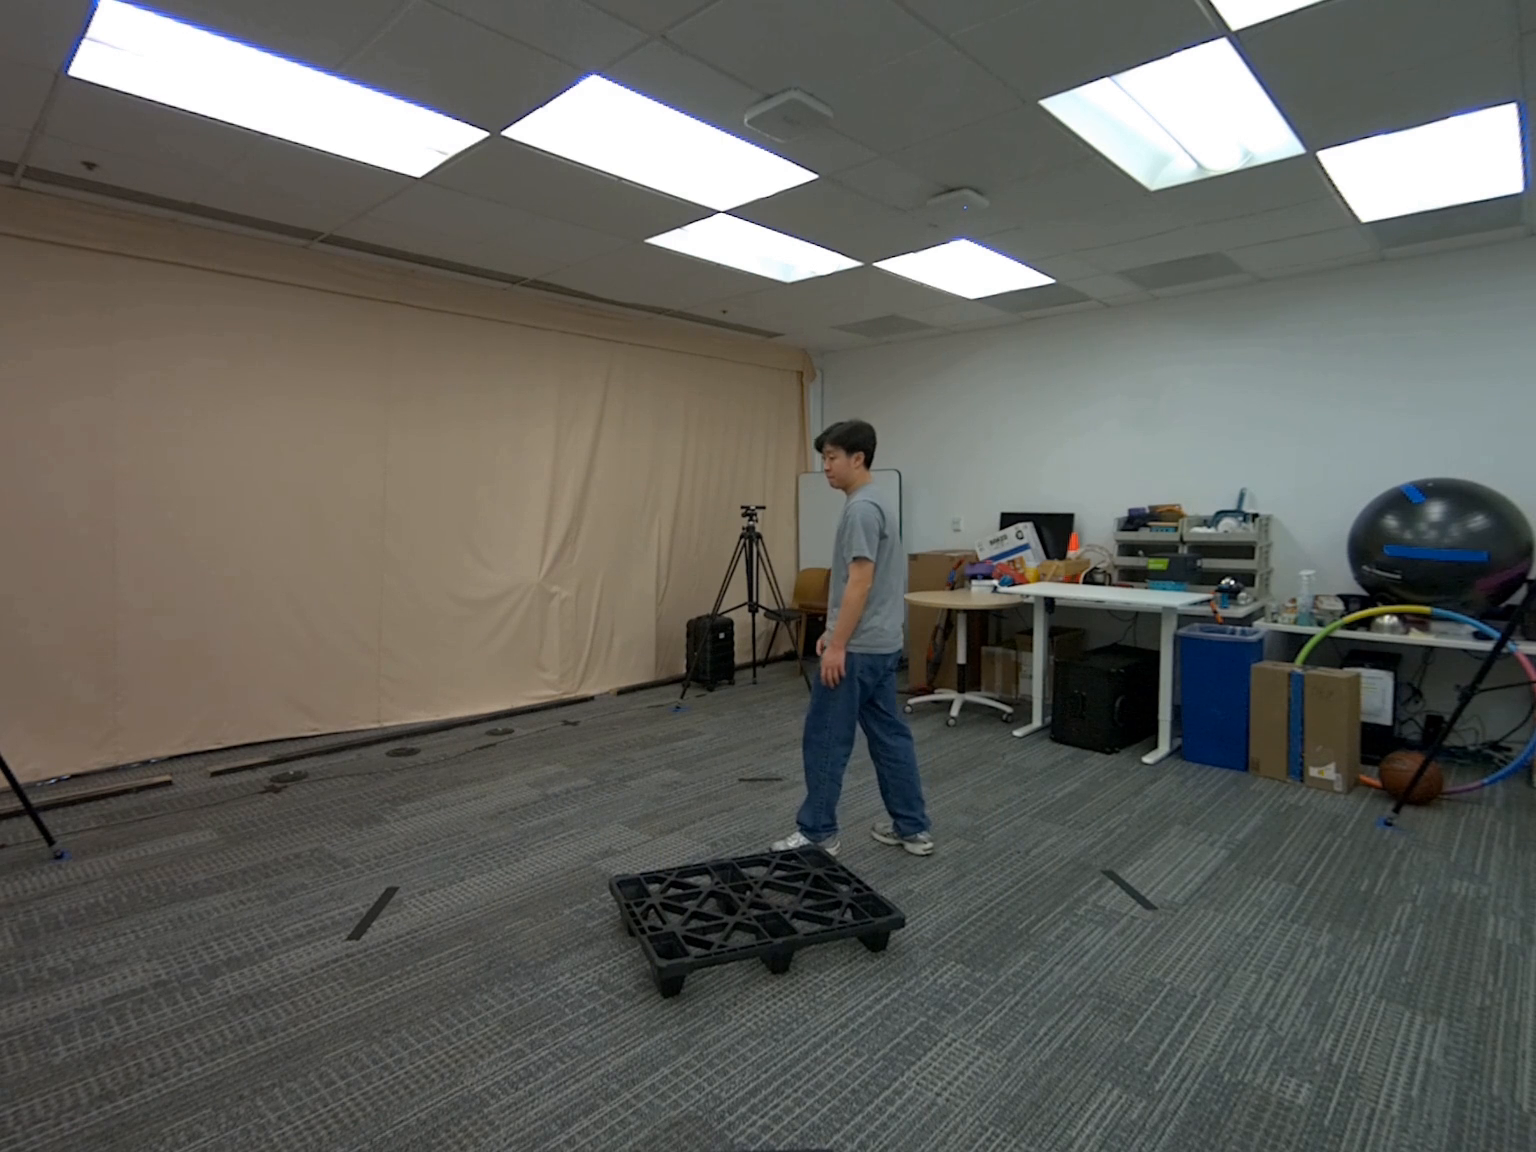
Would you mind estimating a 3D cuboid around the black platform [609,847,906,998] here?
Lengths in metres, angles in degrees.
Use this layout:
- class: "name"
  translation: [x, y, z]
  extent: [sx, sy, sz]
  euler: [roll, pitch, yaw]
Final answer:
- class: "black platform"
  translation: [-0.061, 1.098, 2.721]
  extent: [0.788, 0.143, 0.619]
  euler: [-2, 5, -22]
